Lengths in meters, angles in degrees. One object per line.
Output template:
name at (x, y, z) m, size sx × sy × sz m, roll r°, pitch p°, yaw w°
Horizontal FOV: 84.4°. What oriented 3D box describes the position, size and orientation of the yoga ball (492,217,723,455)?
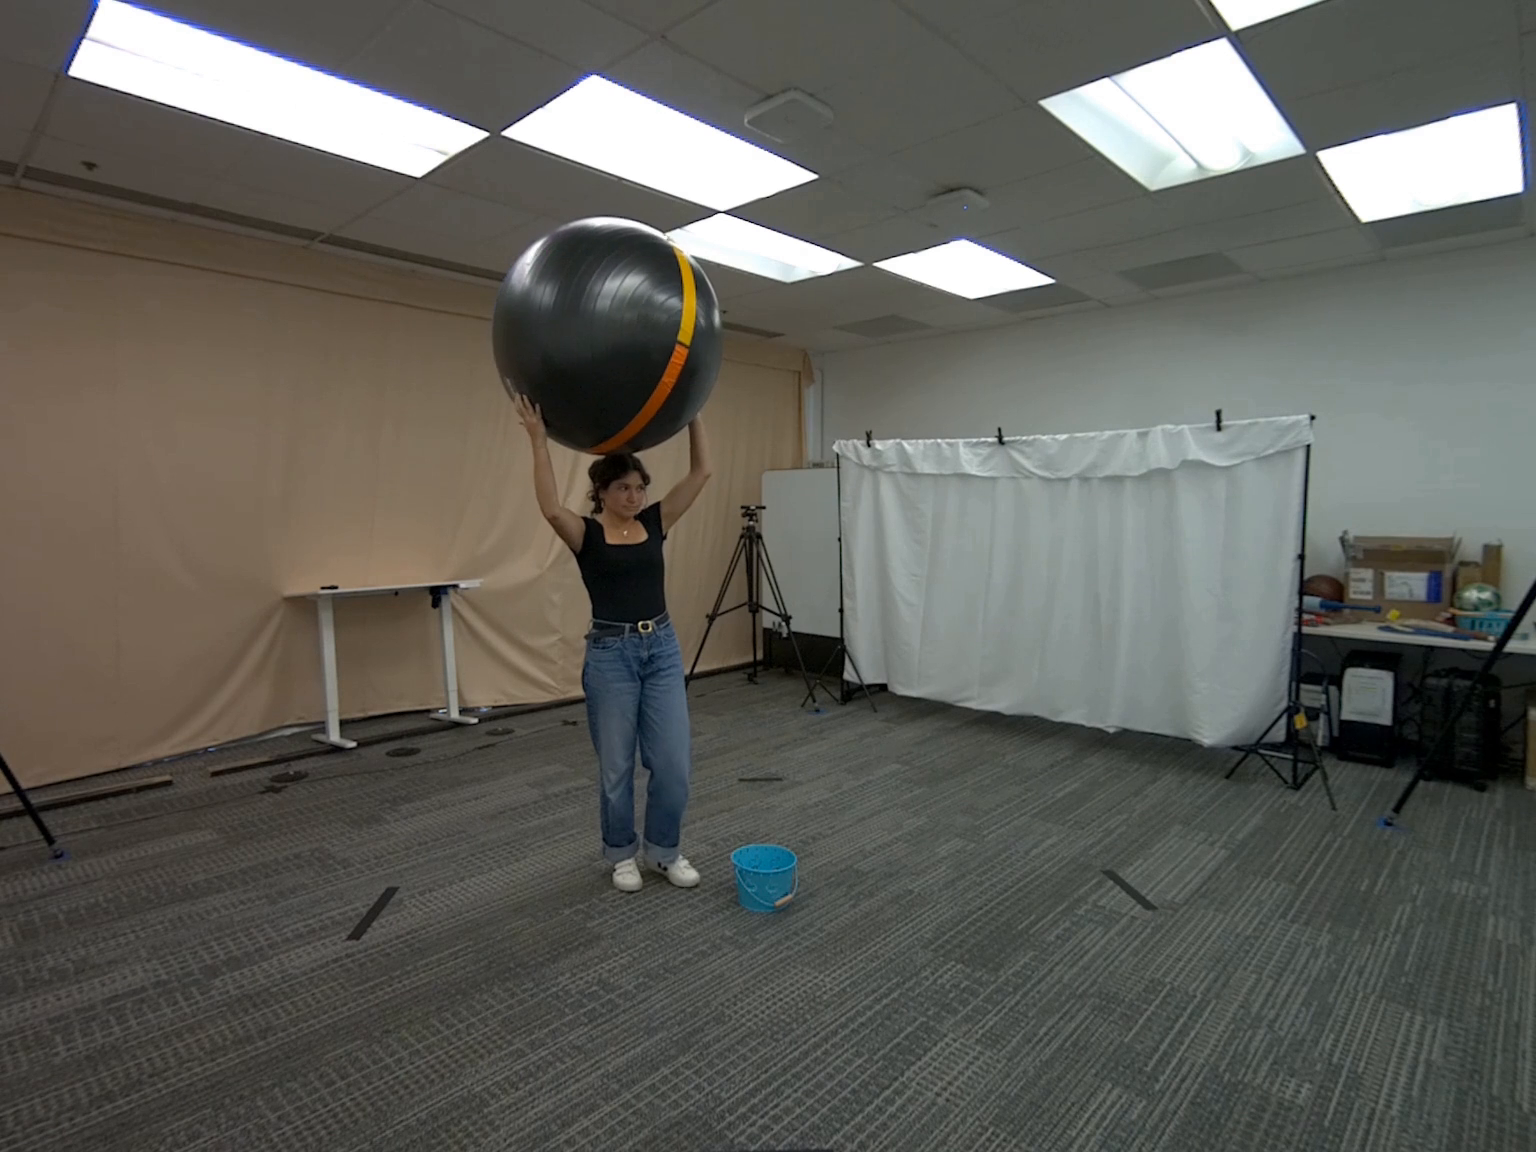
yoga ball at (-0.520, -0.781, 2.786) m, size 0.757 × 0.756 × 0.760 m, roll 0°, pitch 4°, yaw -2°
